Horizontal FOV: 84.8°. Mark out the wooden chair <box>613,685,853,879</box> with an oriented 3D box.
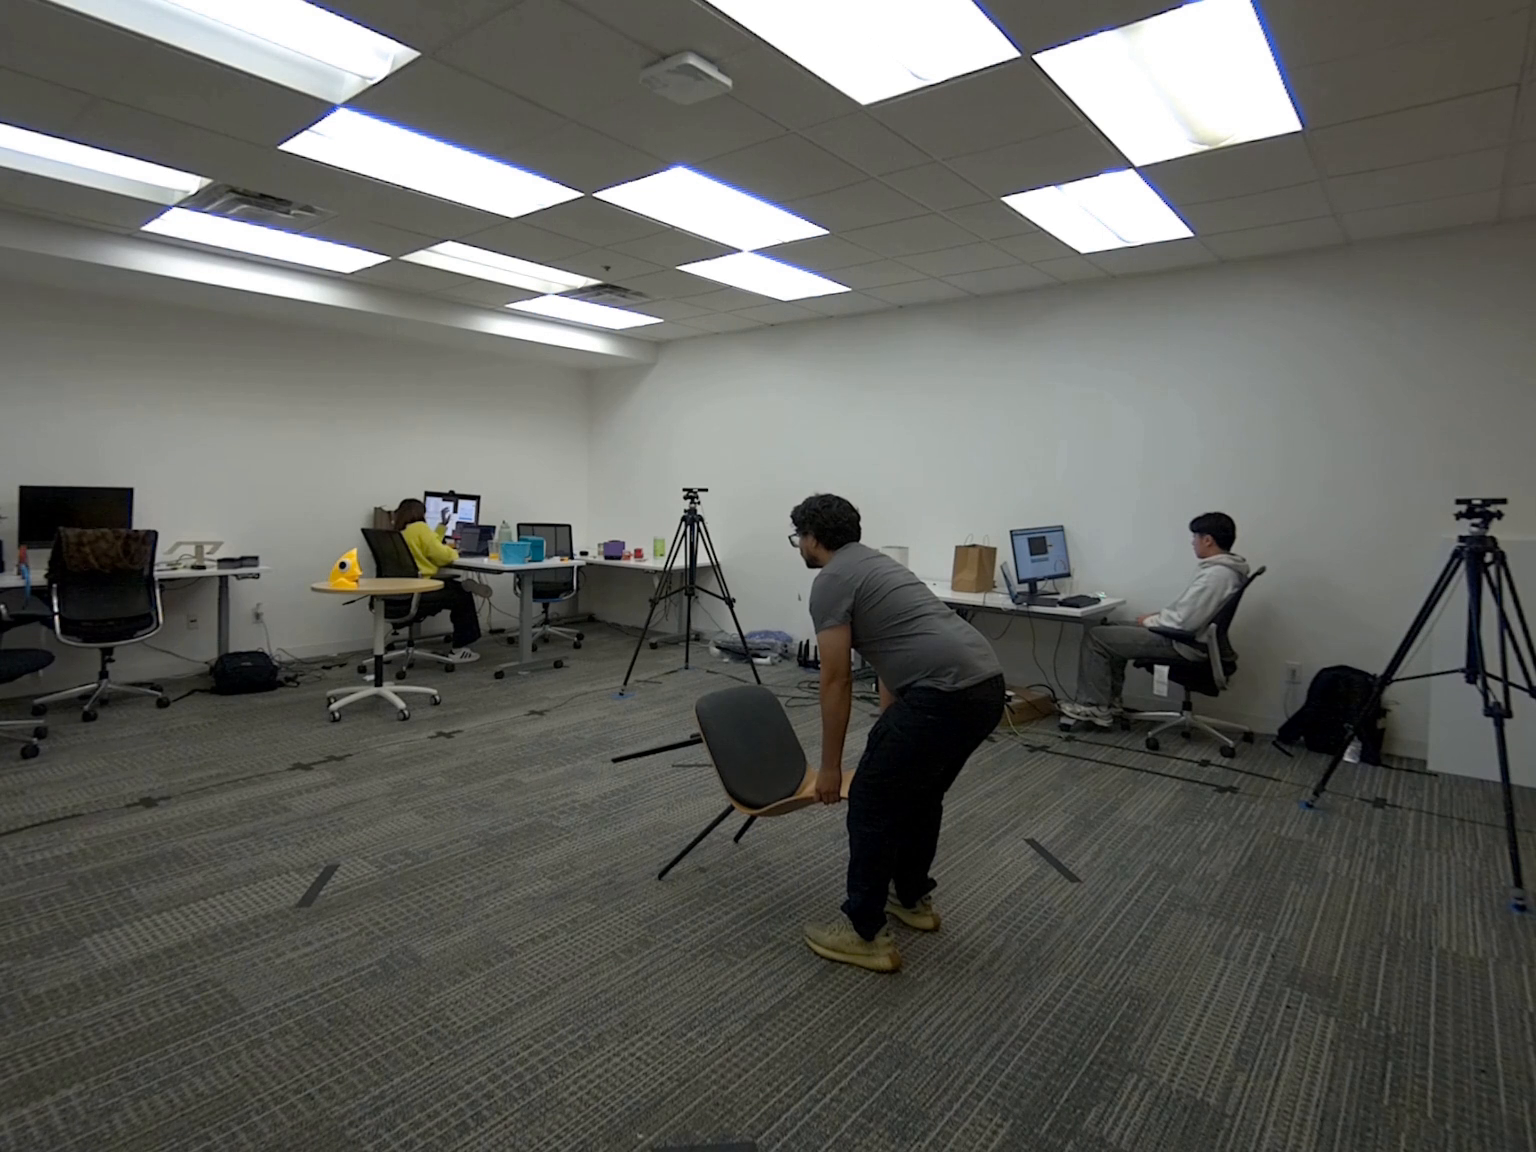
[{"bbox_3d":[-0.072,0.650,3.028,0.887,0.533,0.464,-31,-17,34],"label":"wooden chair"}]
